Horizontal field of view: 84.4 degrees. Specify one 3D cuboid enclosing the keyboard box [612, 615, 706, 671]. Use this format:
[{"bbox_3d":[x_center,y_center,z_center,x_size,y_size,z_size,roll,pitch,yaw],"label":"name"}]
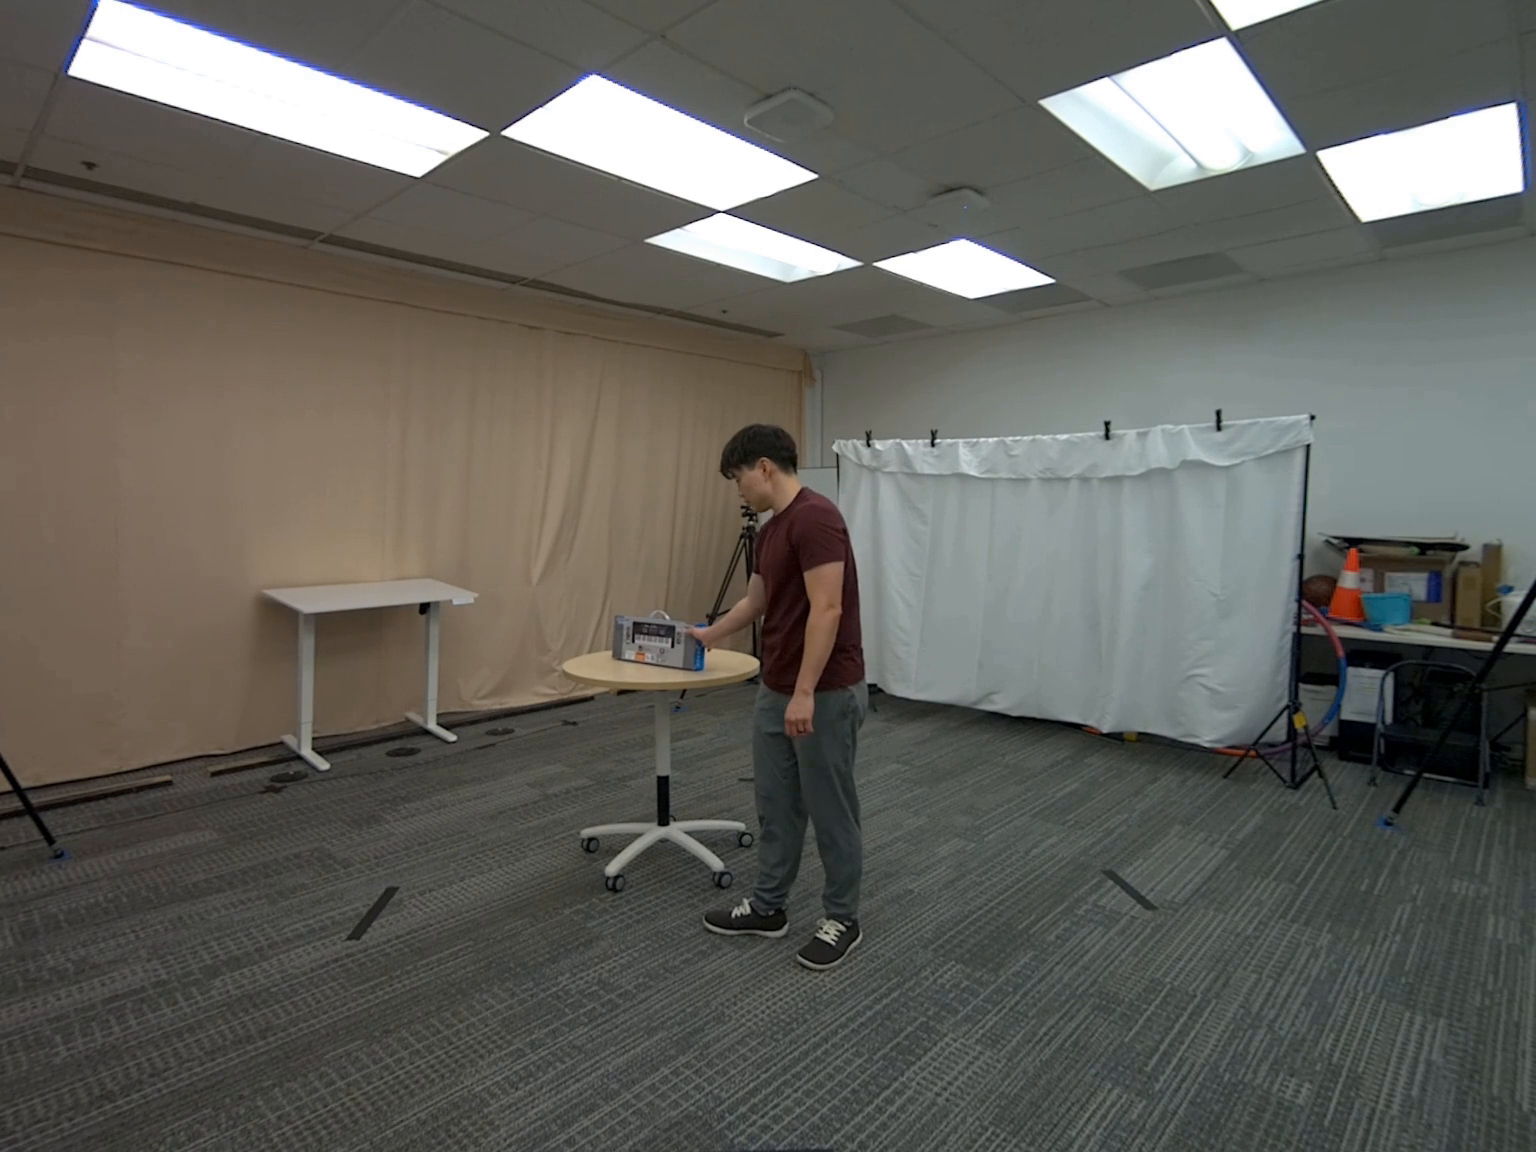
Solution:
[{"bbox_3d":[-0.424,0.255,3.255,0.451,0.176,0.057,3,-3,38],"label":"keyboard box"}]
